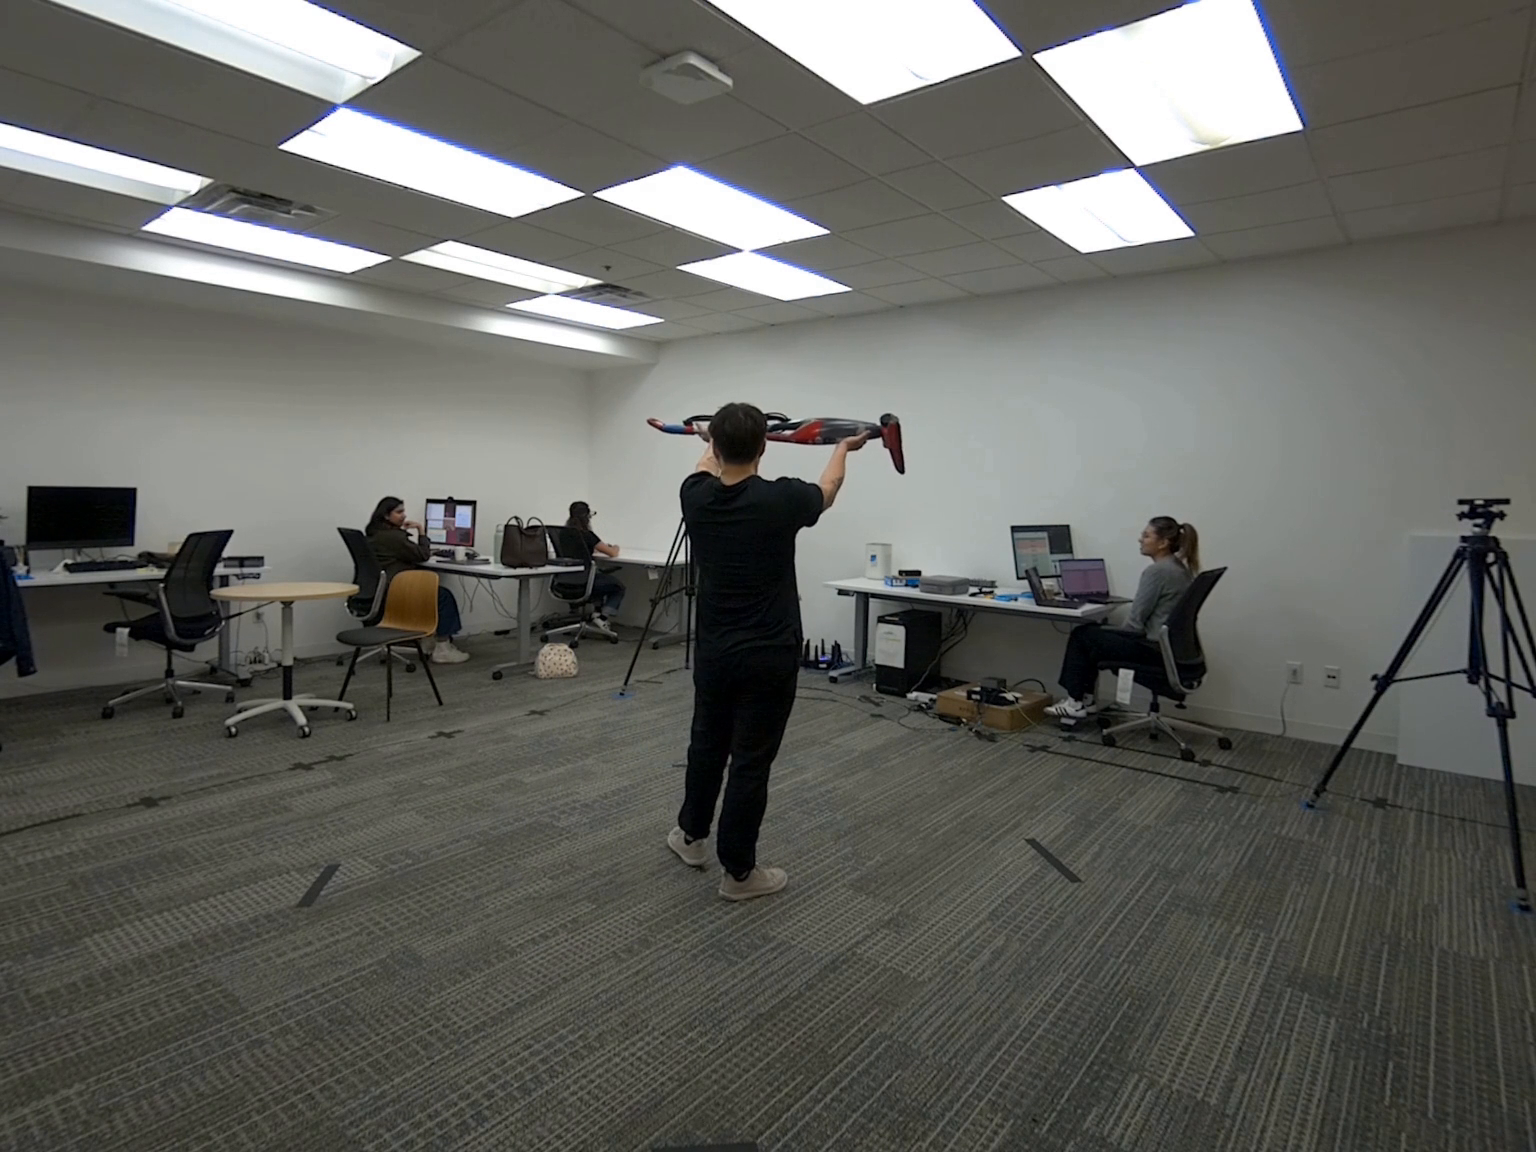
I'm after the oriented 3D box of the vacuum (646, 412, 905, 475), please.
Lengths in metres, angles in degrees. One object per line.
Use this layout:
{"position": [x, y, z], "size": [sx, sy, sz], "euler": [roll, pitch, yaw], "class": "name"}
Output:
{"position": [-0.018, -0.590, 3.360], "size": [1.077, 0.145, 0.243], "euler": [10, -36, 23], "class": "vacuum"}
